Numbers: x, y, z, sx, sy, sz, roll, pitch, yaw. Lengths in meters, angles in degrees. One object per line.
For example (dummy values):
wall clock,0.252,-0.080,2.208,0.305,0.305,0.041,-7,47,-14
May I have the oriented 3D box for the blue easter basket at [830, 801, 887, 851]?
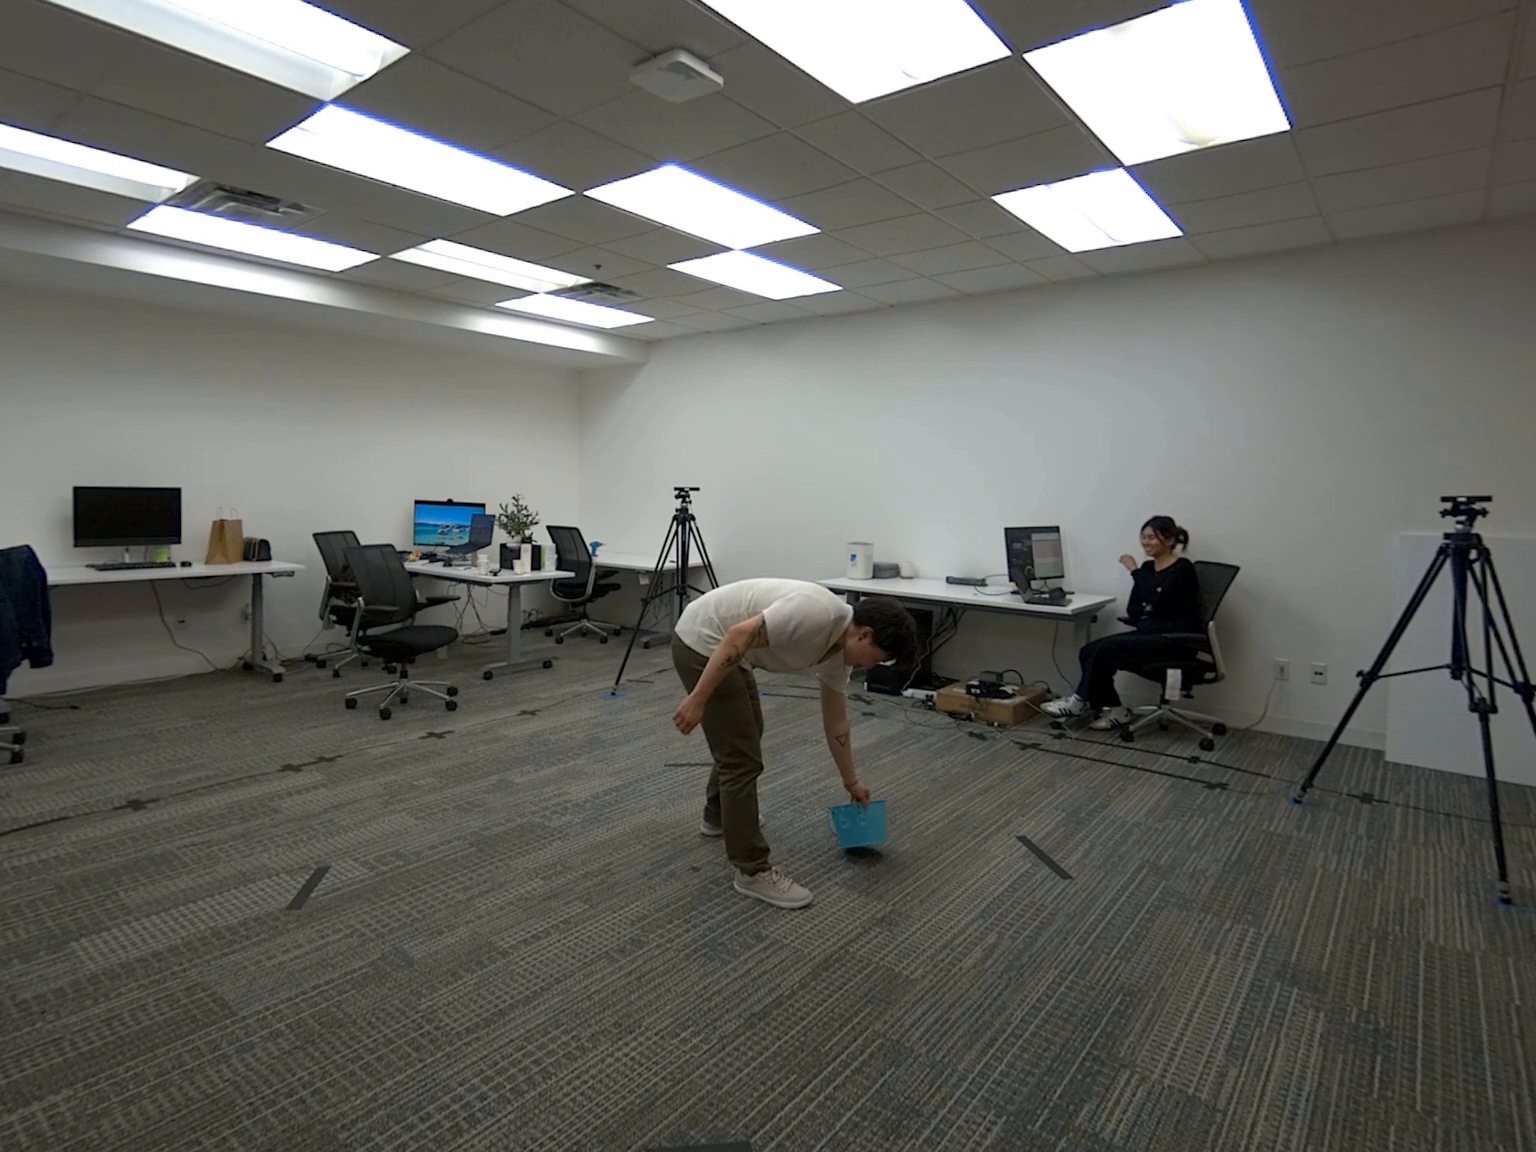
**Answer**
blue easter basket,0.342,0.958,3.289,0.243,0.159,0.239,-7,-17,-4
